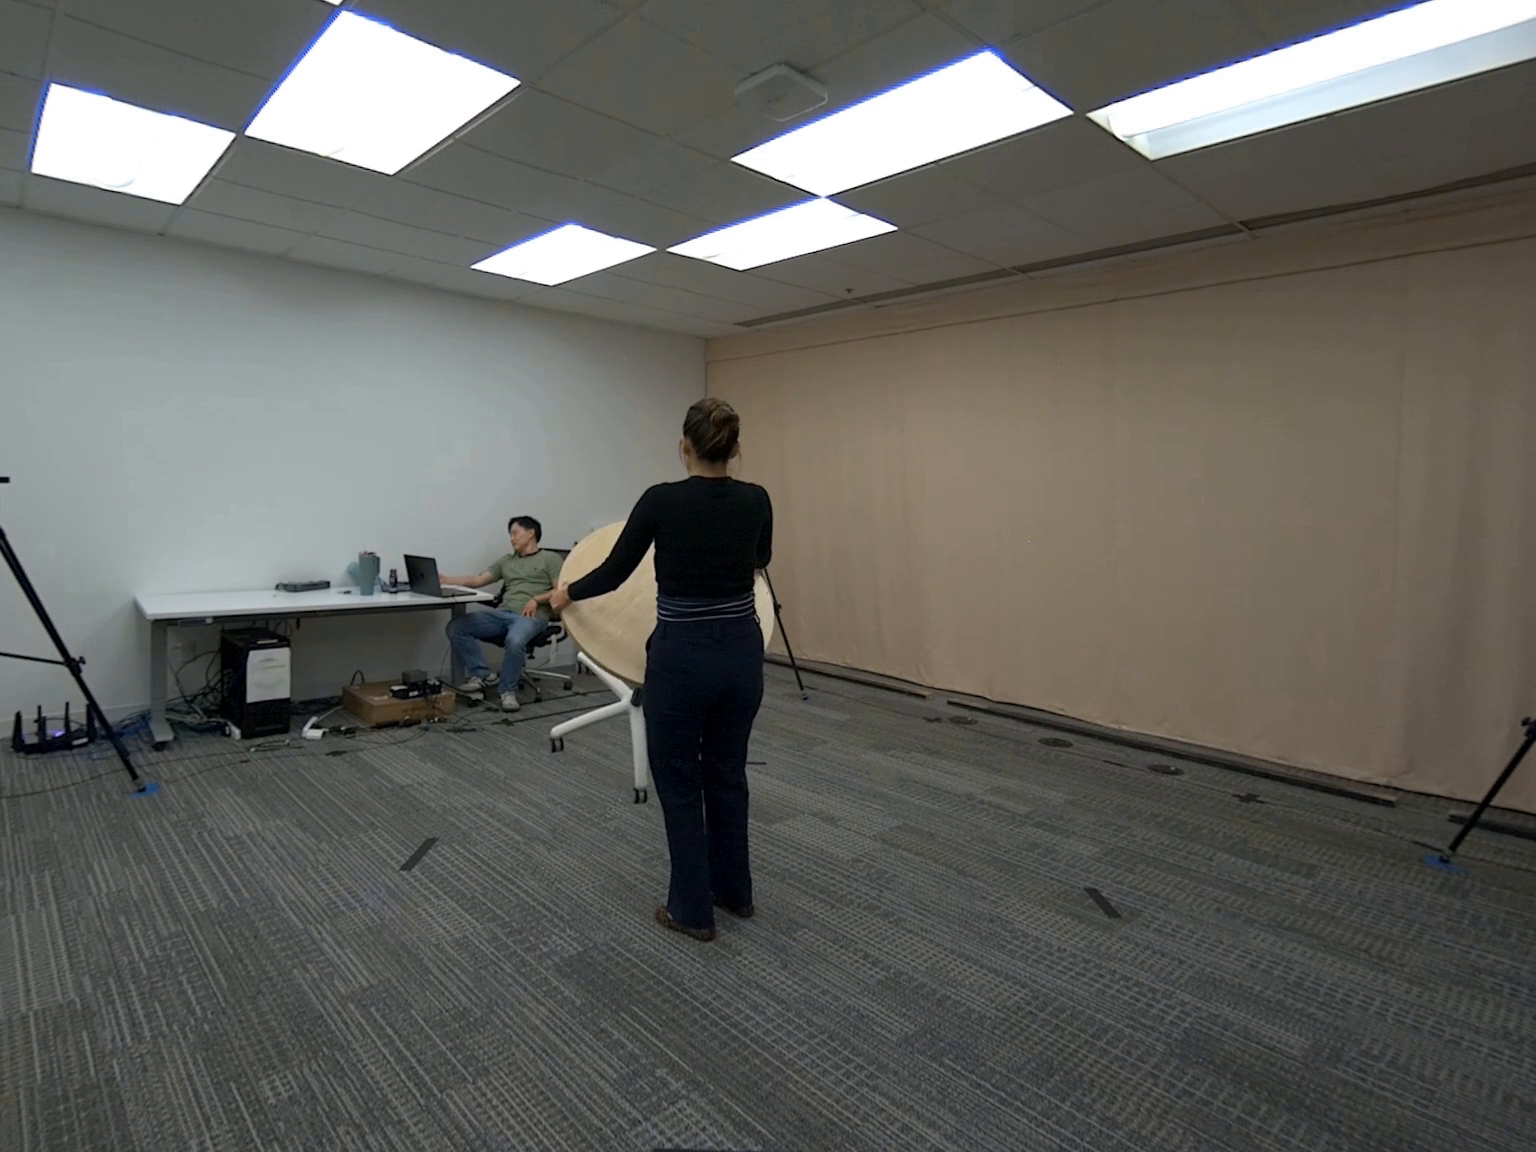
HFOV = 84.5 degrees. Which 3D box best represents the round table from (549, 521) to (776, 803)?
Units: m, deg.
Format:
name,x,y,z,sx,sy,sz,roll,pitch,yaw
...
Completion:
name,x,y,z,sx,sy,sz,roll,pitch,yaw
round table,-0.464,0.339,3.206,0.756,0.784,0.781,11,45,-12
